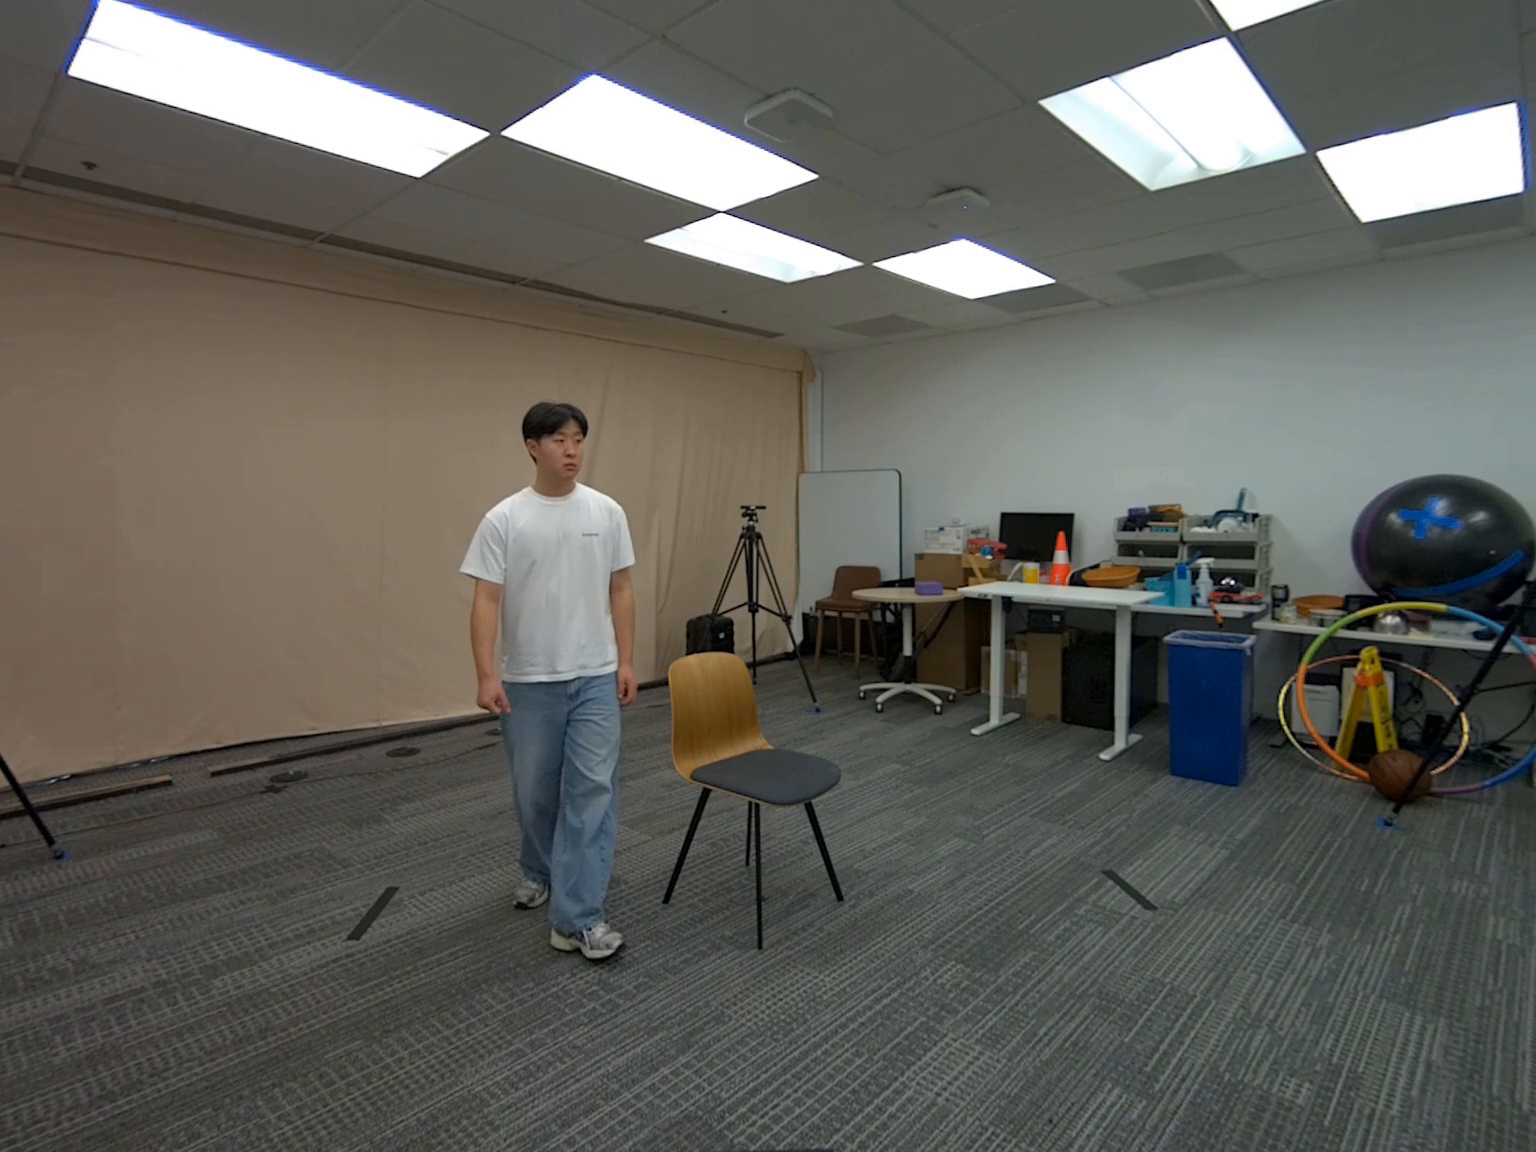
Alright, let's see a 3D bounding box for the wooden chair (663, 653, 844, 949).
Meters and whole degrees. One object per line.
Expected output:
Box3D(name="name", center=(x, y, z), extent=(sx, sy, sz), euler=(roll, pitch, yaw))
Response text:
Box3D(name="wooden chair", center=(-0.038, 0.723, 2.922), extent=(0.539, 0.877, 0.463), euler=(-3, 1, 42))
